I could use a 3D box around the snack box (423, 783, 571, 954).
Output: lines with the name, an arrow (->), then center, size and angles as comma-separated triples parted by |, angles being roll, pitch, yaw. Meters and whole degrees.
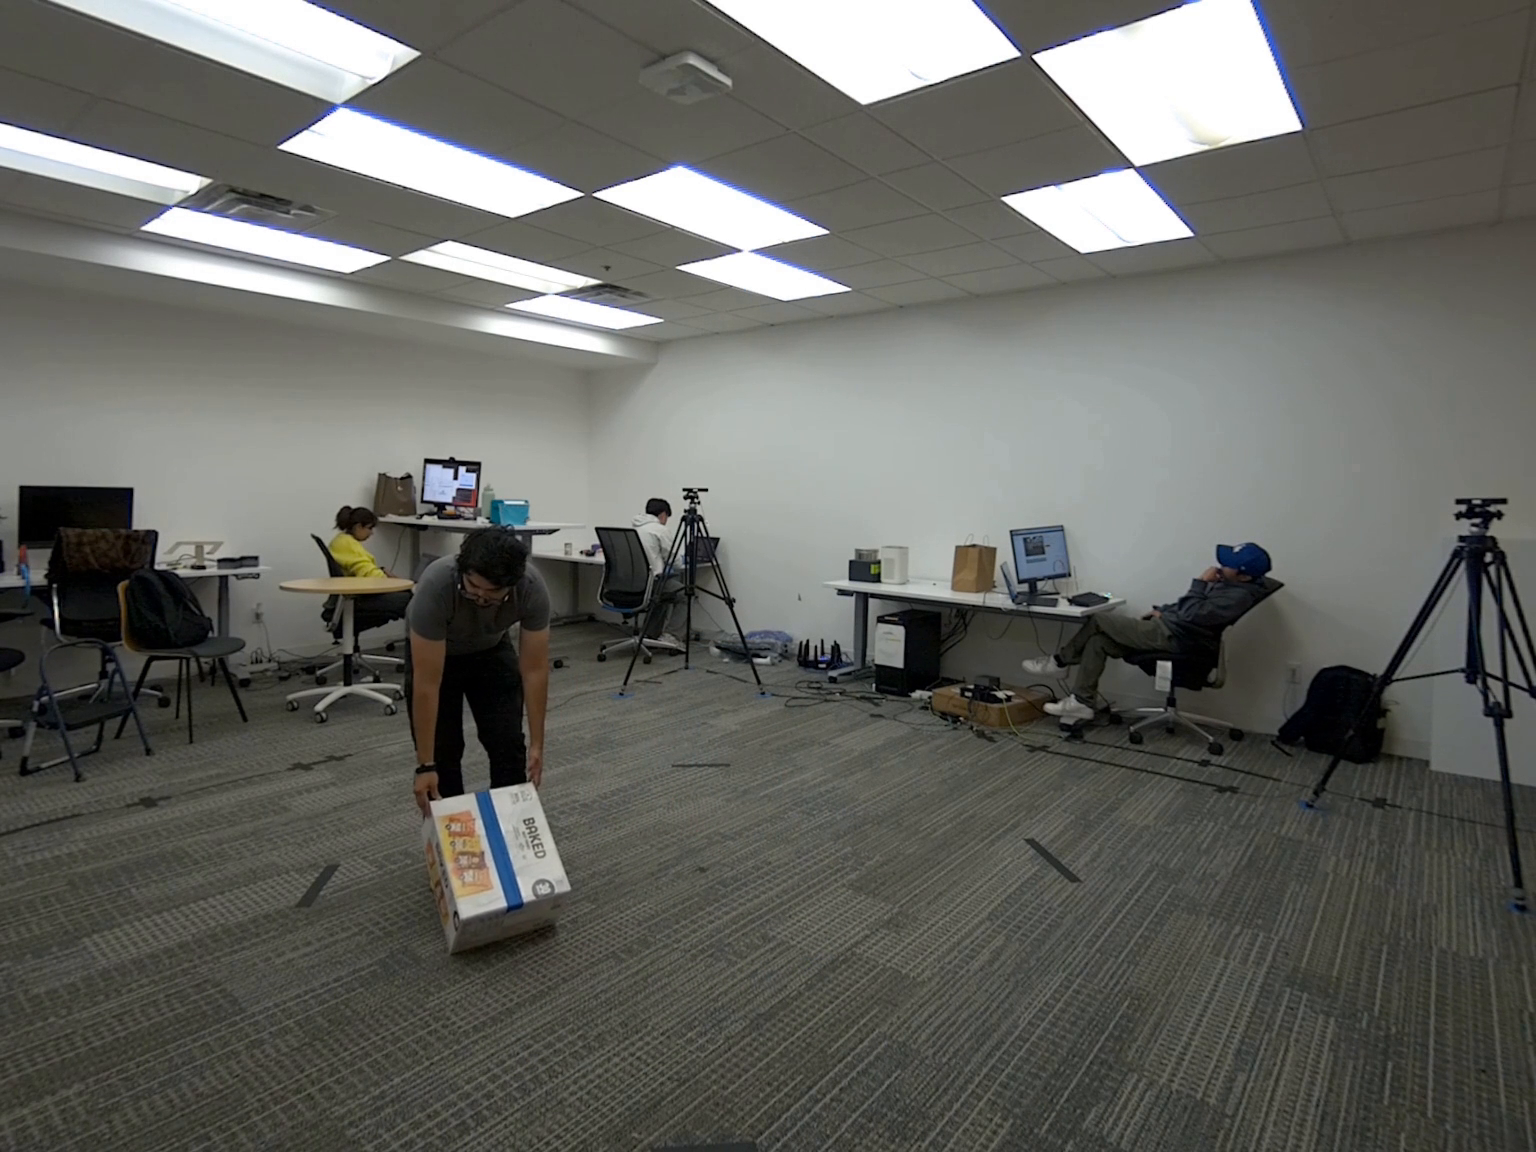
snack box -> -0.874, 0.904, 2.674 | 0.331, 0.203, 0.422 | -3, 43, -34
